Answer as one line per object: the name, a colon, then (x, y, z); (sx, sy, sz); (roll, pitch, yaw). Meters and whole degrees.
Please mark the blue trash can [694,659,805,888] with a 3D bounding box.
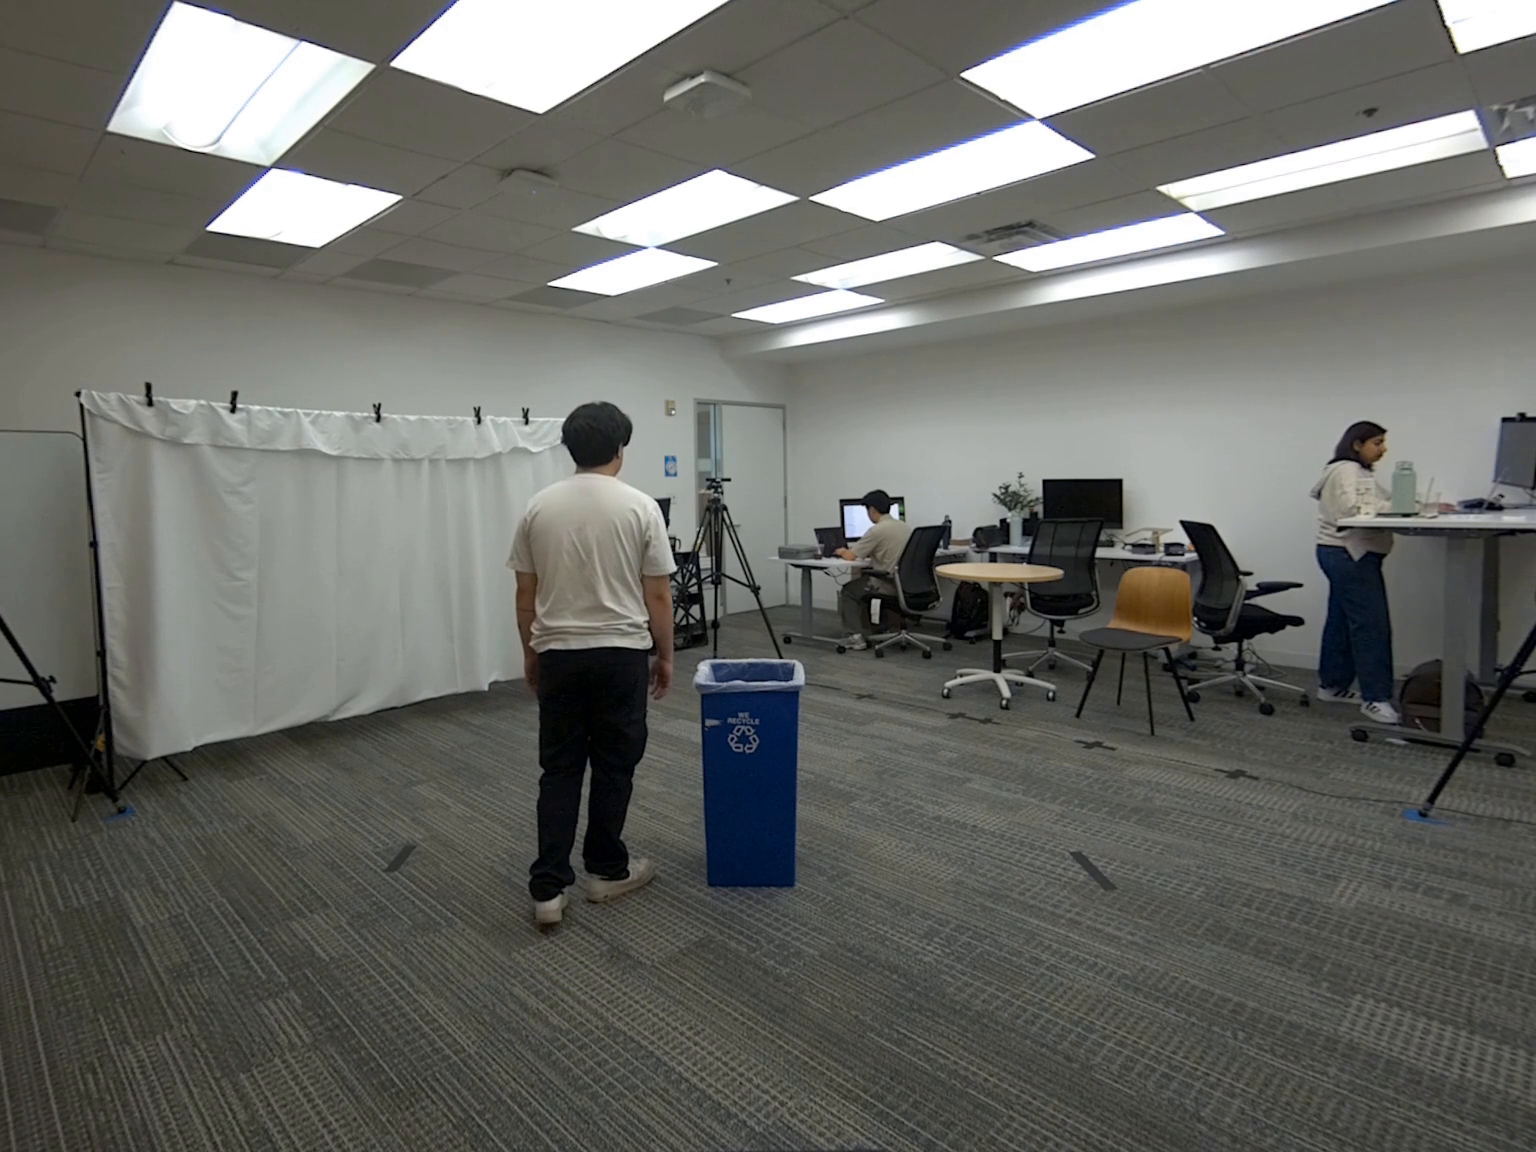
blue trash can: (-0.052, 0.694, 3.053); (0.375, 0.711, 0.379); (-1, 4, 2)
